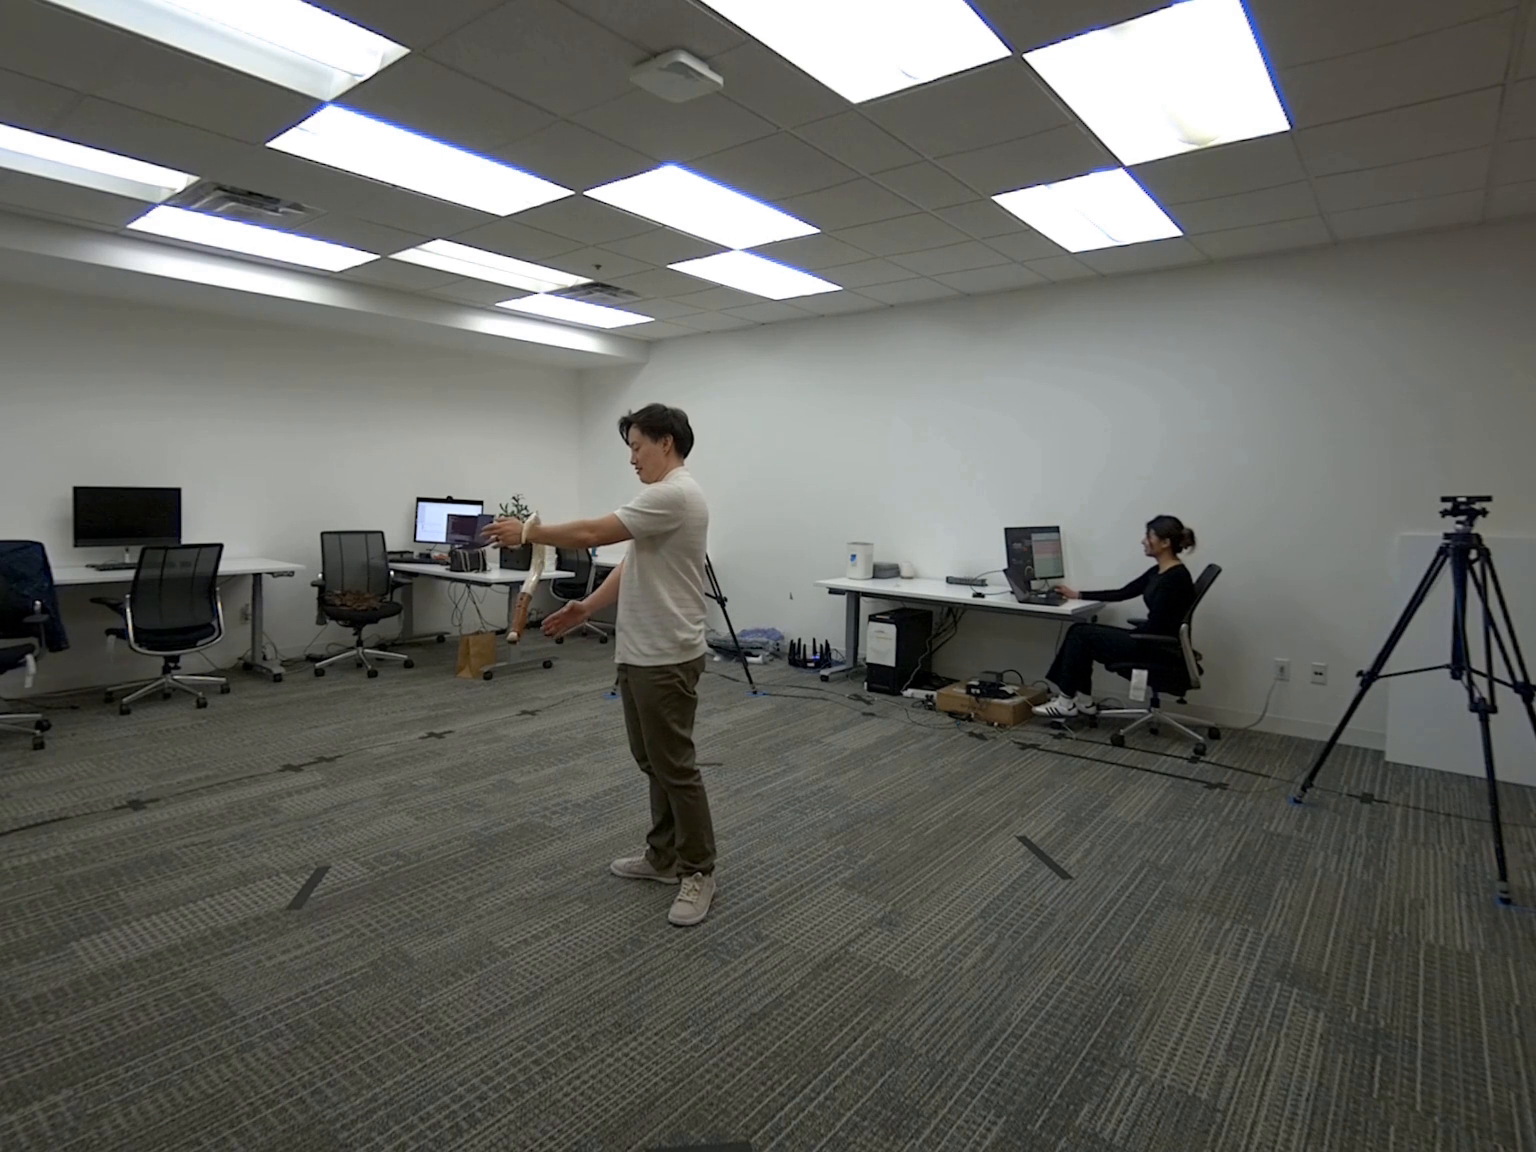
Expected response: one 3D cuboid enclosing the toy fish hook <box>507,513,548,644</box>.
[{"bbox_3d":[-0.790,-0.004,2.718,0.048,0.217,0.522,-8,43,2],"label":"toy fish hook"}]
